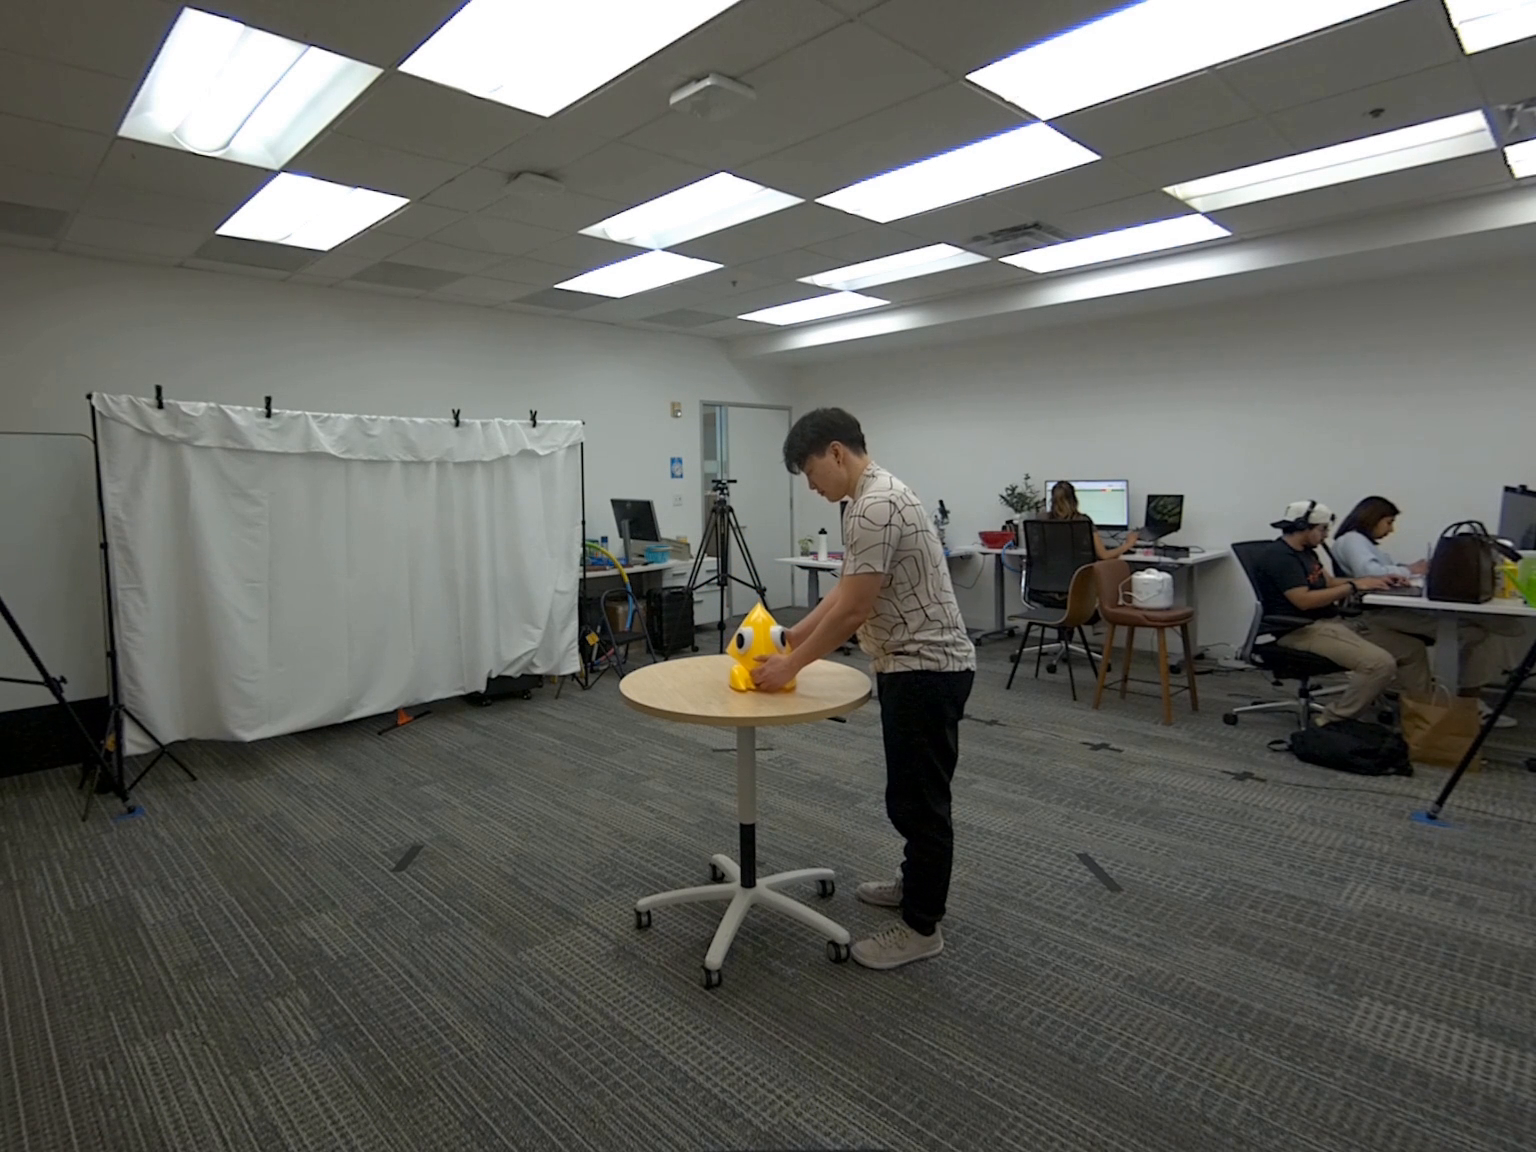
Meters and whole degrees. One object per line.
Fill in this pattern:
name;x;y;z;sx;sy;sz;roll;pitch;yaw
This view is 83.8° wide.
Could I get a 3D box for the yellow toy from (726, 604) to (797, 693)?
yellow toy;-0.011;0.204;2.550;0.204;0.230;0.194;-1;4;-4
